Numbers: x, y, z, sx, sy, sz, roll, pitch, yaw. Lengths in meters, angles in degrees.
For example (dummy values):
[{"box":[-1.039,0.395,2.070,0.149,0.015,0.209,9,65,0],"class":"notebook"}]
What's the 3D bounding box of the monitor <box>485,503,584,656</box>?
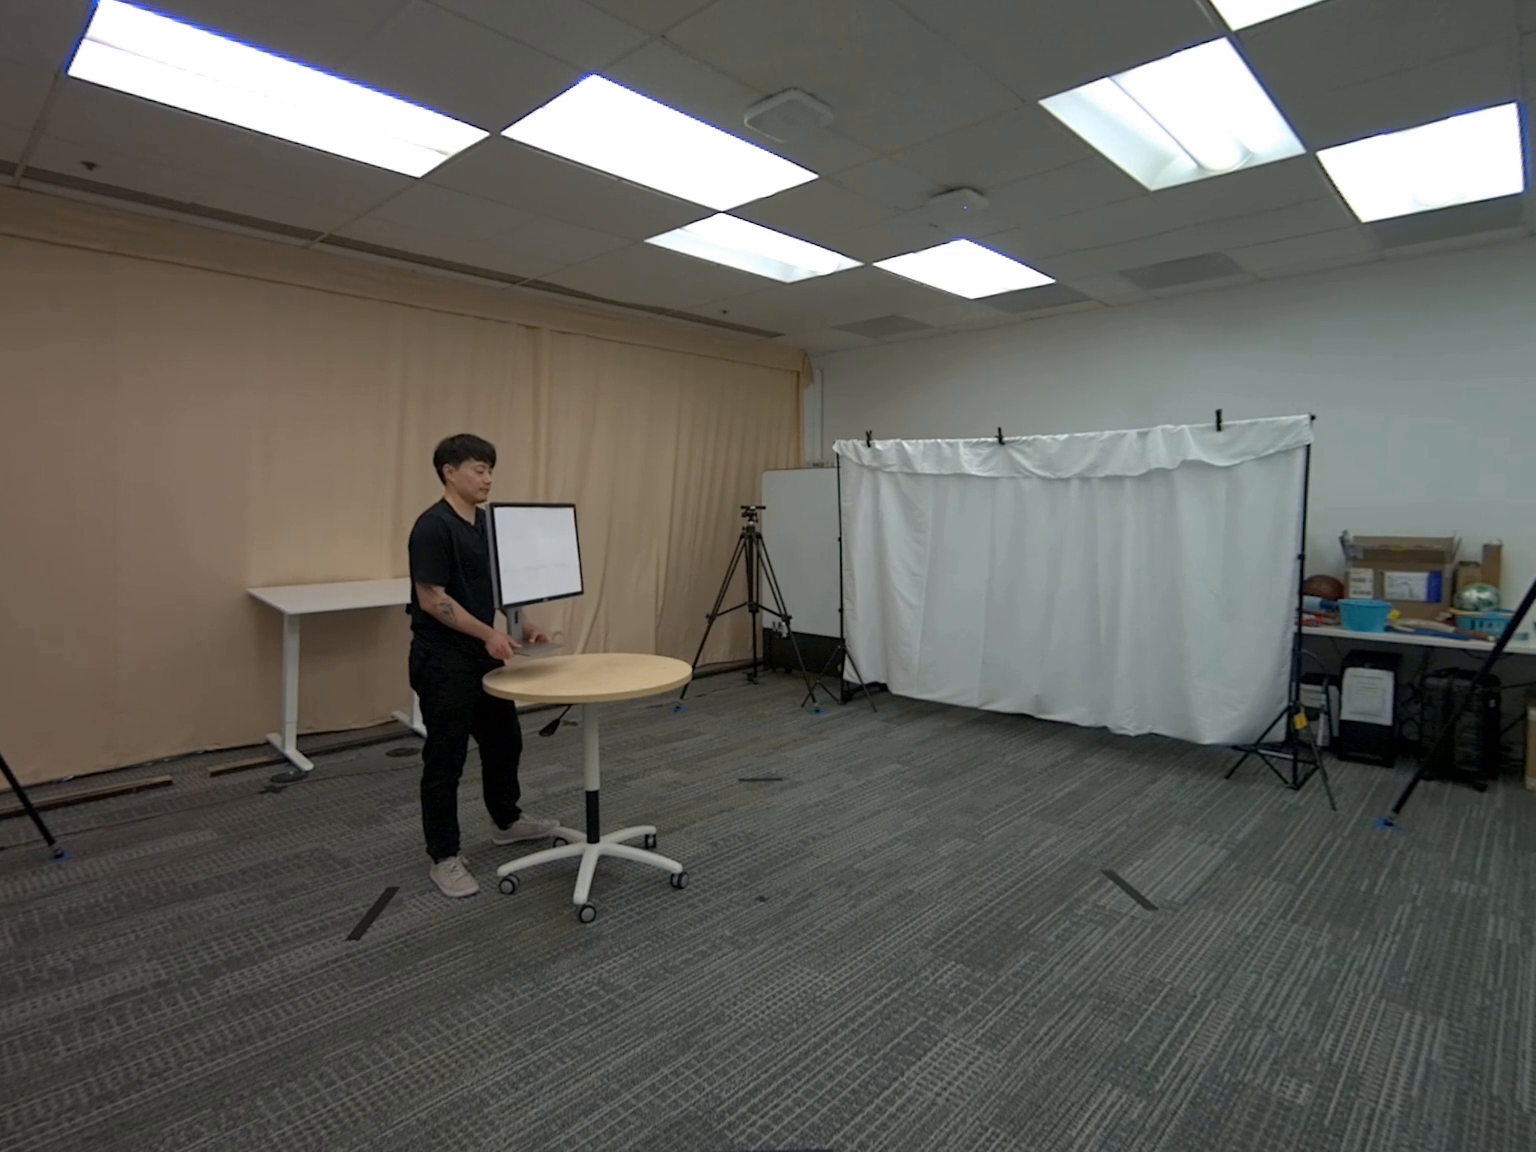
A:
[{"box":[-0.876,0.004,3.091,0.191,0.521,0.530,7,6,17],"class":"monitor"}]
